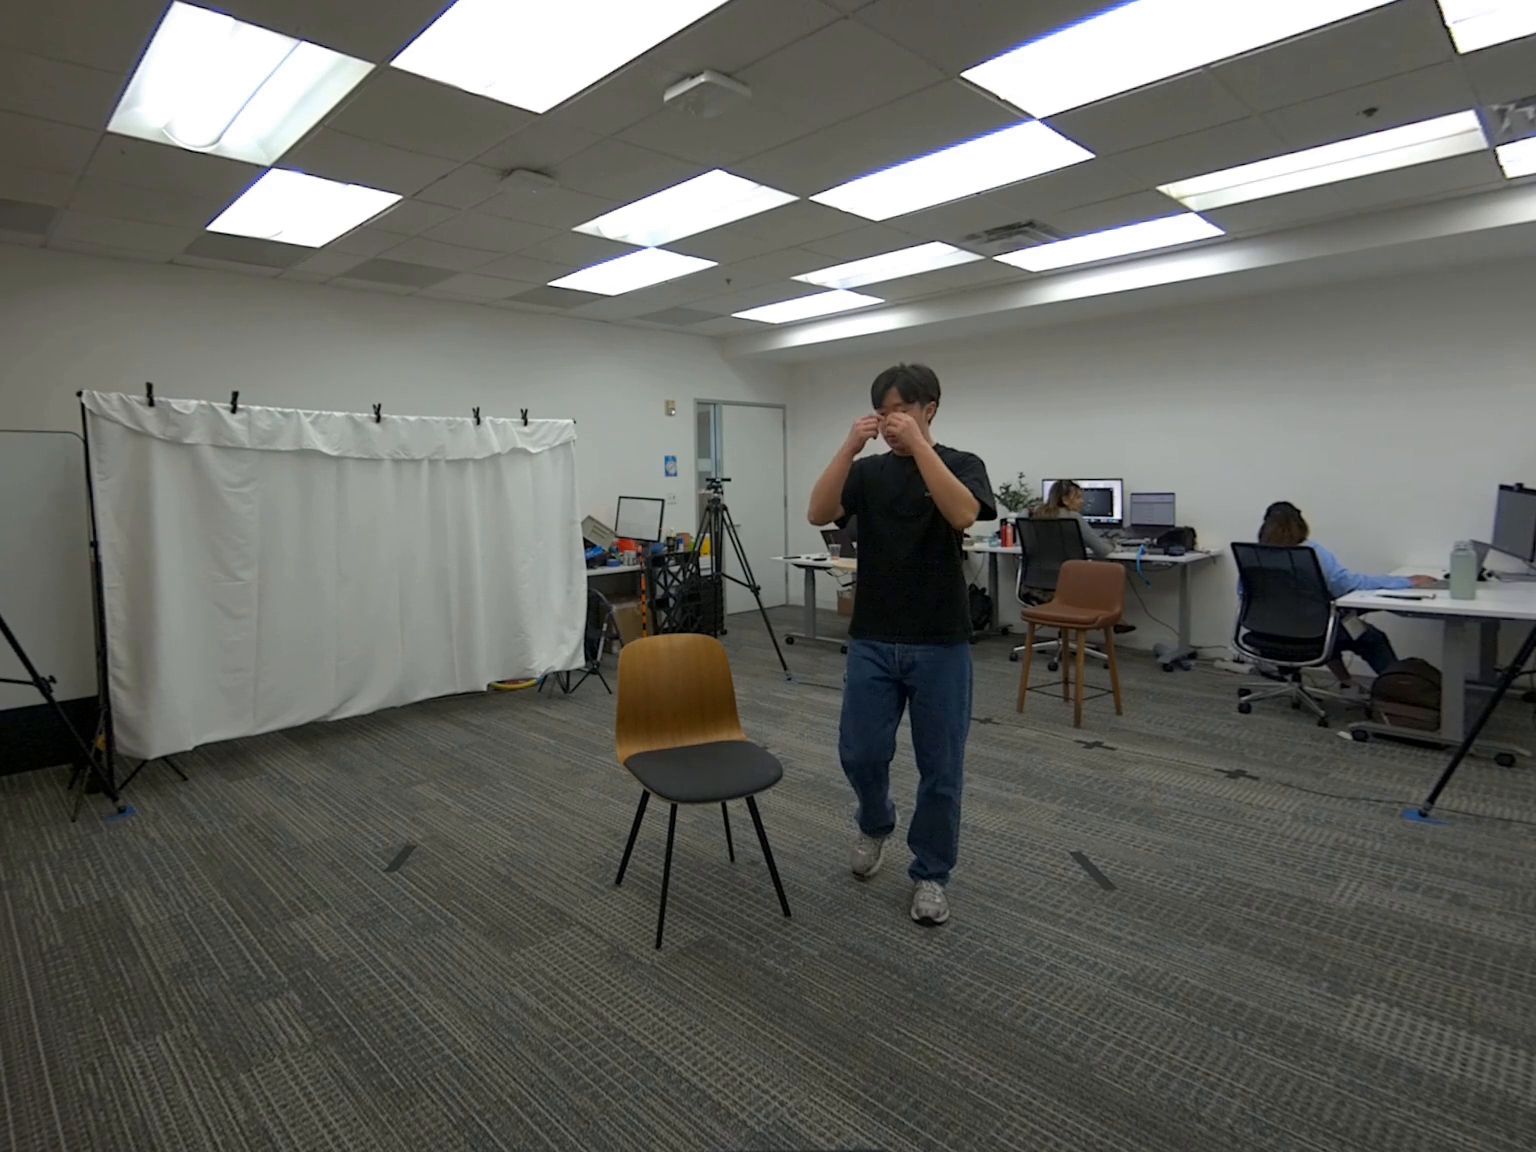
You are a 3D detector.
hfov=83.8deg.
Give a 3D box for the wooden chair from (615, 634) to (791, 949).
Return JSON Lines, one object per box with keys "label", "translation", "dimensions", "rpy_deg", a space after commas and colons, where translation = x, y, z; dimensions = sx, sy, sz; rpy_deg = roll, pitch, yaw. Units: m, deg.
{"label": "wooden chair", "translation": [-0.225, 0.650, 2.796], "dimensions": [0.468, 0.877, 0.534], "rpy_deg": [-3, 1, -25]}
